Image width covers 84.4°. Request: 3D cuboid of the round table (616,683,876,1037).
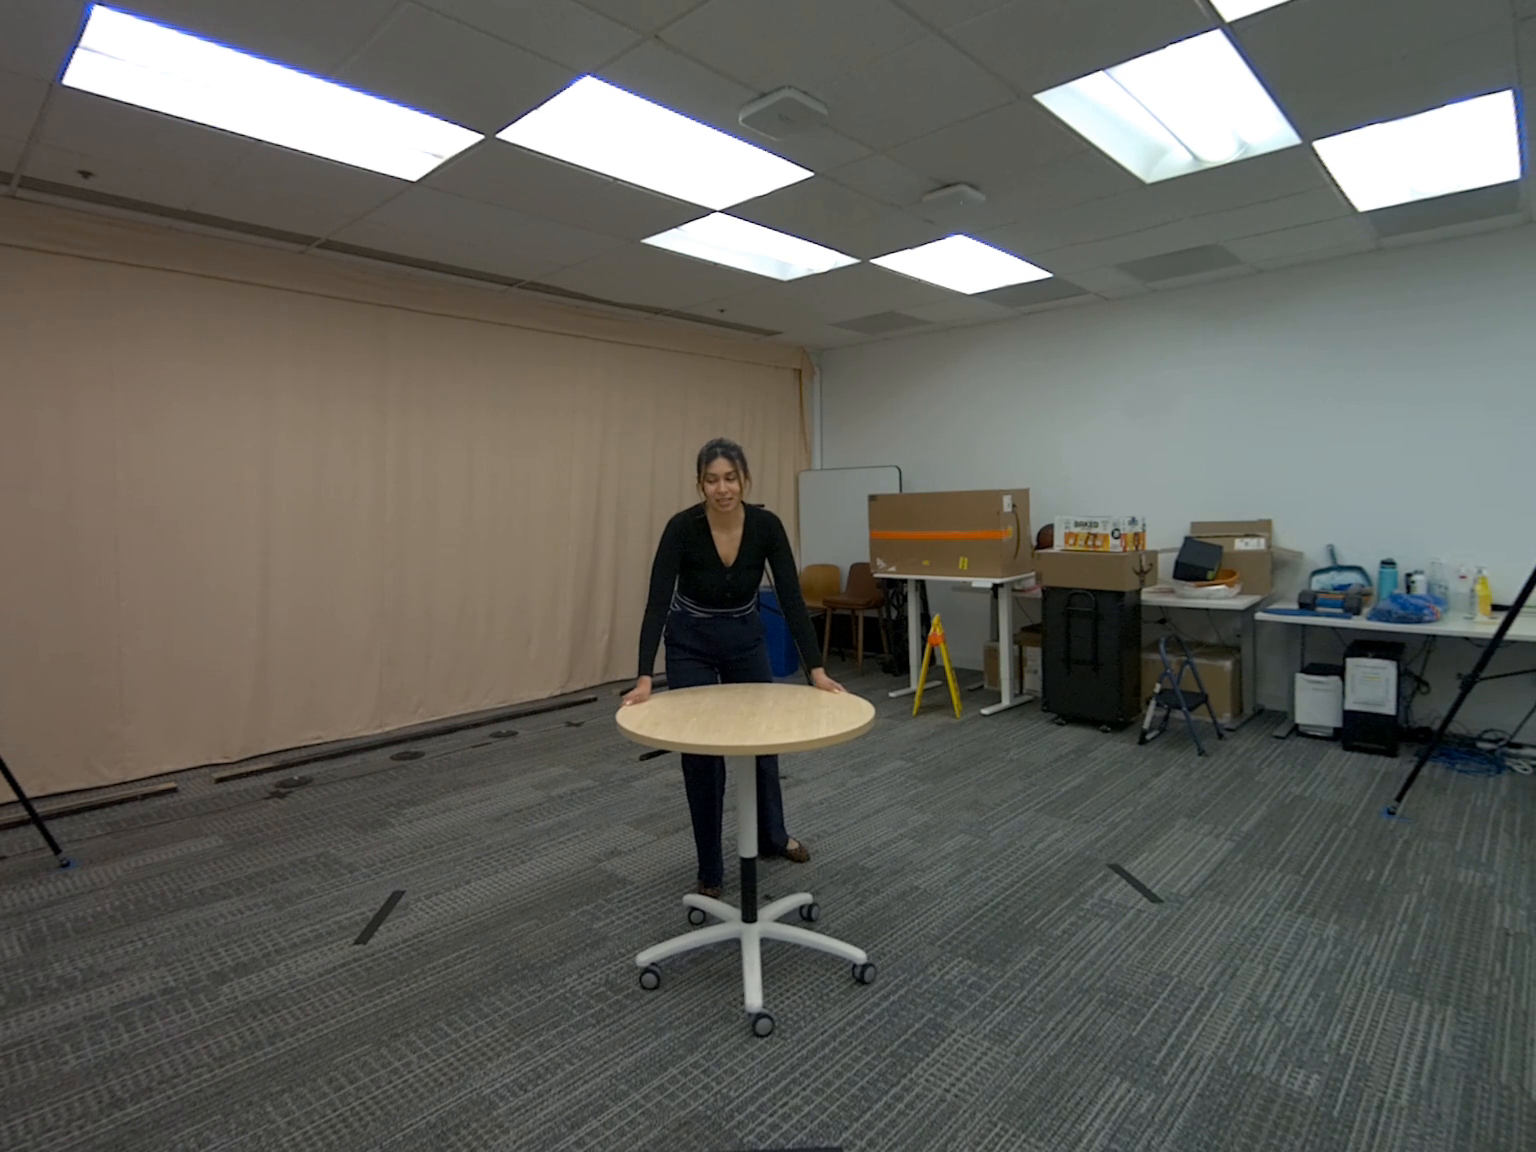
[{"bbox_3d":[-0.051,0.788,2.538,0.763,0.792,0.766,-2,4,-2],"label":"round table"}]
